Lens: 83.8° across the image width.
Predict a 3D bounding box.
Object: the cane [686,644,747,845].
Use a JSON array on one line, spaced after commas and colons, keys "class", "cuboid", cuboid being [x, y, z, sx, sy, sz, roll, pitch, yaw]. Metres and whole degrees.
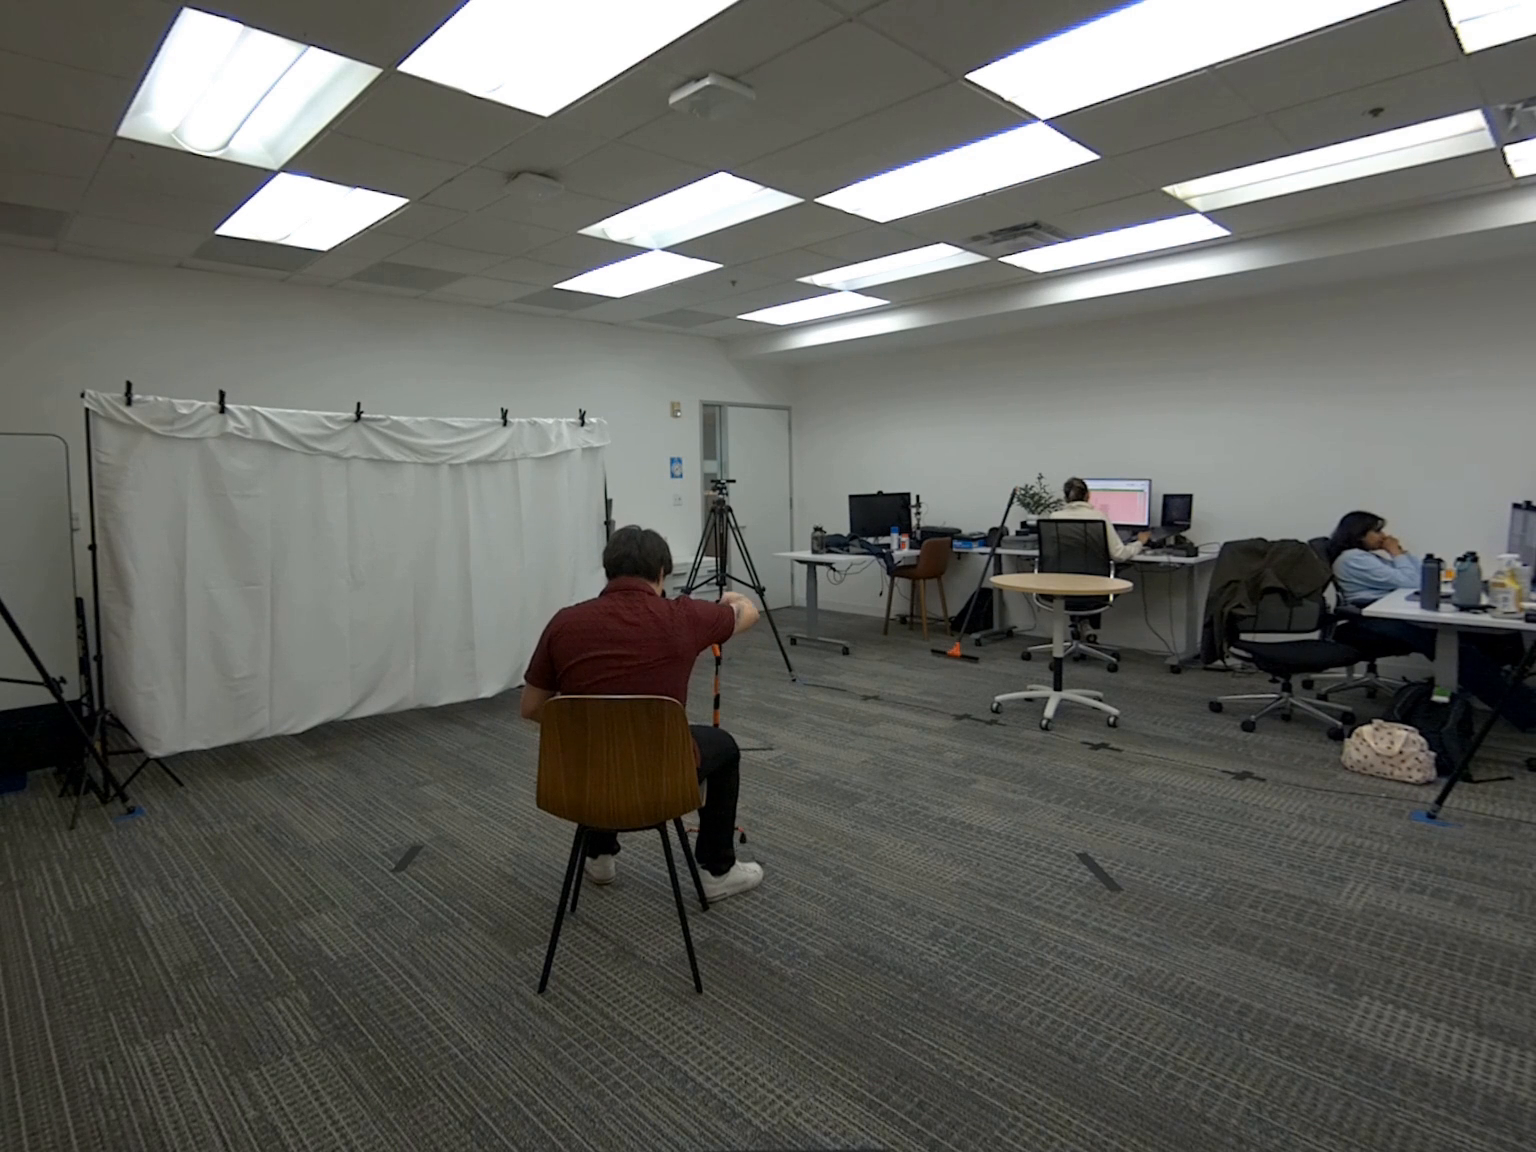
[{"class": "cane", "cuboid": [-0.173, 0.540, 3.084, 0.212, 0.902, 0.148, 6, 8, 28]}]
